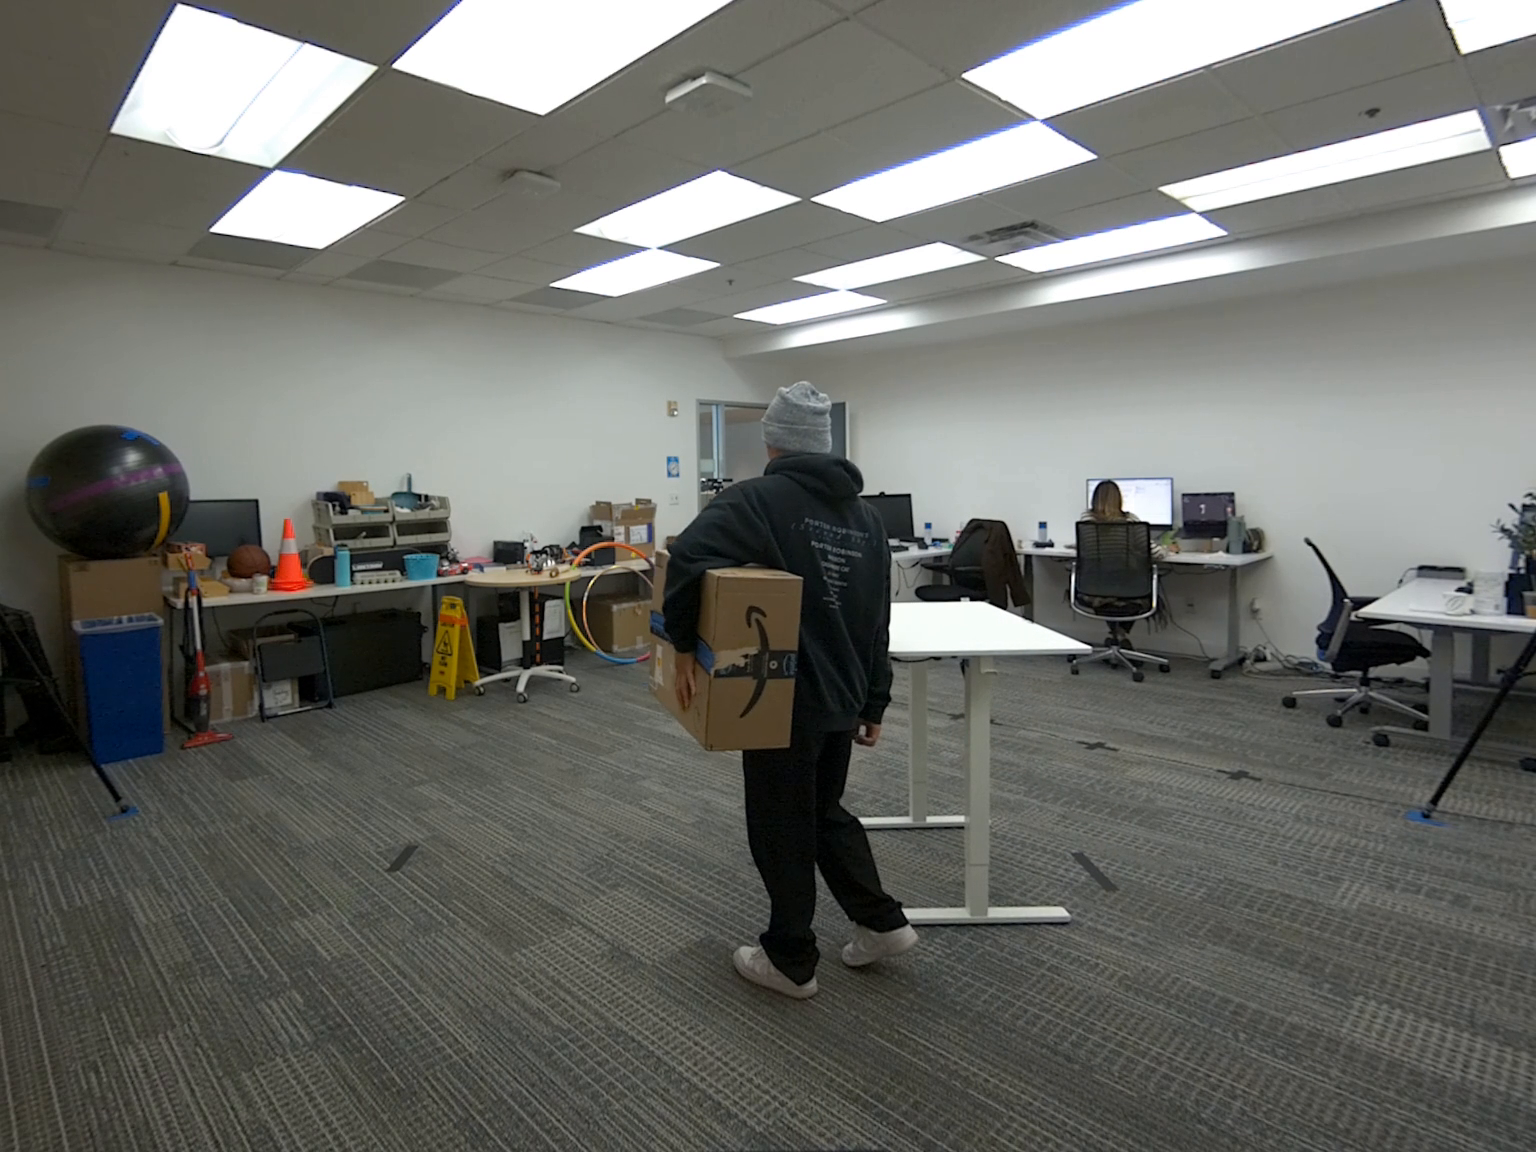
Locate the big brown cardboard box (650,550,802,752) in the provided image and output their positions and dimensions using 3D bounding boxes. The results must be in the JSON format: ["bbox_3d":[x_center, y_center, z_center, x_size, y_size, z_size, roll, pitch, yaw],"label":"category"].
[{"bbox_3d":[-0.142,0.170,2.267,0.229,0.416,0.602,1,6,-19],"label":"big brown cardboard box"}]
